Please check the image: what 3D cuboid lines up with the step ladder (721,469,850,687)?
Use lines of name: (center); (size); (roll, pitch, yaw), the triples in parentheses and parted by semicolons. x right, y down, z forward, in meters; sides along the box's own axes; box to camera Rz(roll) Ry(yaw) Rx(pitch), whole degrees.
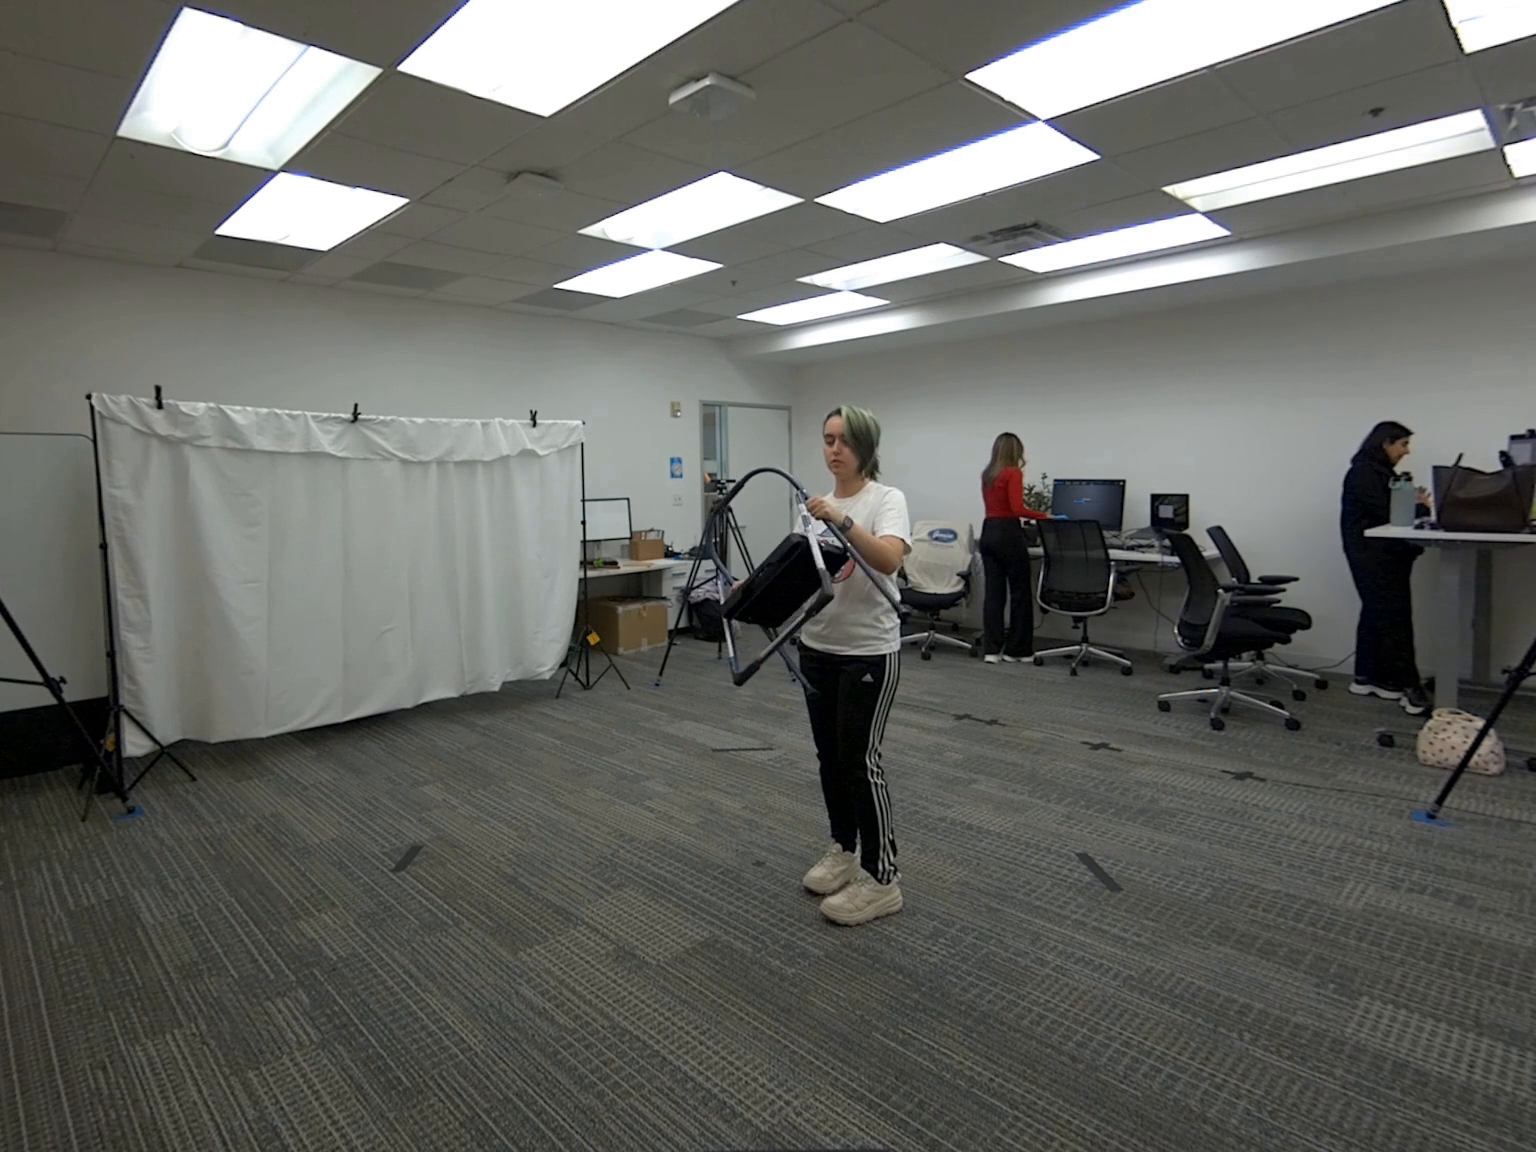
step ladder: (0.040, -0.019, 2.565); (0.337, 0.628, 0.430); (15, -52, -43)
